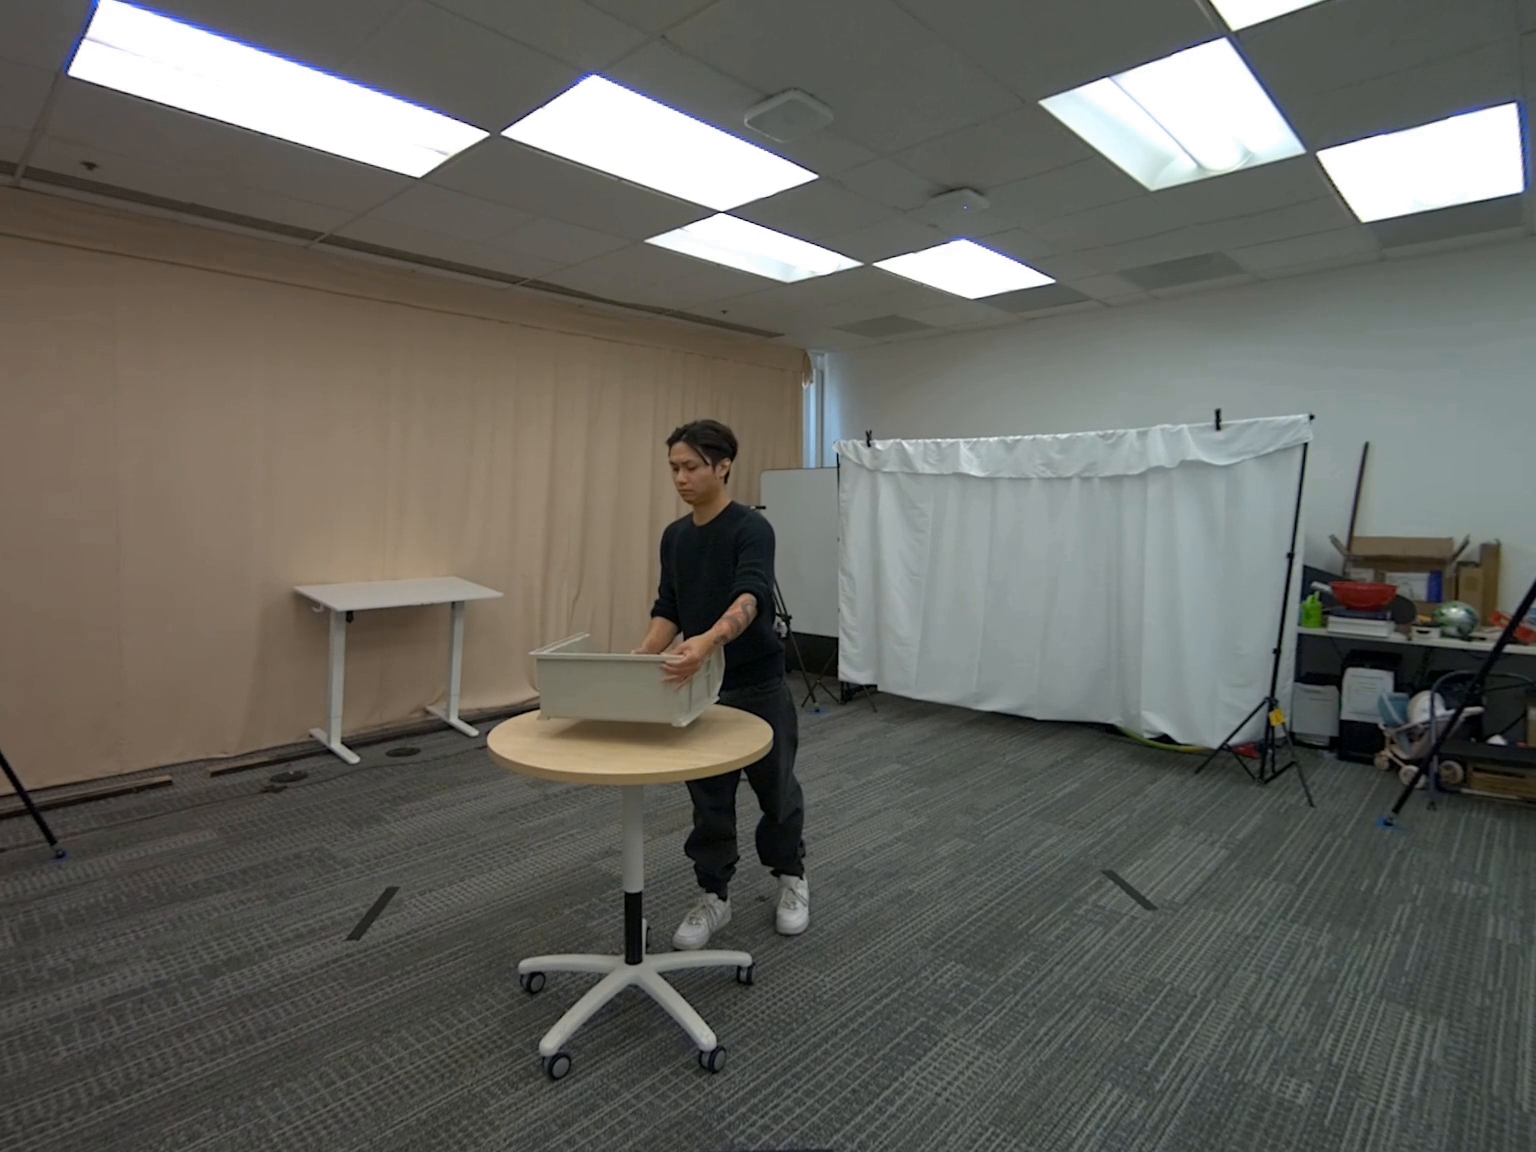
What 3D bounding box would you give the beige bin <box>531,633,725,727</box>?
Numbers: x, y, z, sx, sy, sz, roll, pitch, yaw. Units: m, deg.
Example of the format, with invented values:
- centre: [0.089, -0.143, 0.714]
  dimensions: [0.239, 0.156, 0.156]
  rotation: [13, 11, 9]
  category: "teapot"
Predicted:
- centre: [-0.368, 0.274, 2.309]
  dimensions: [0.429, 0.188, 0.373]
  rotation: [0, 7, 15]
  category: "beige bin"
